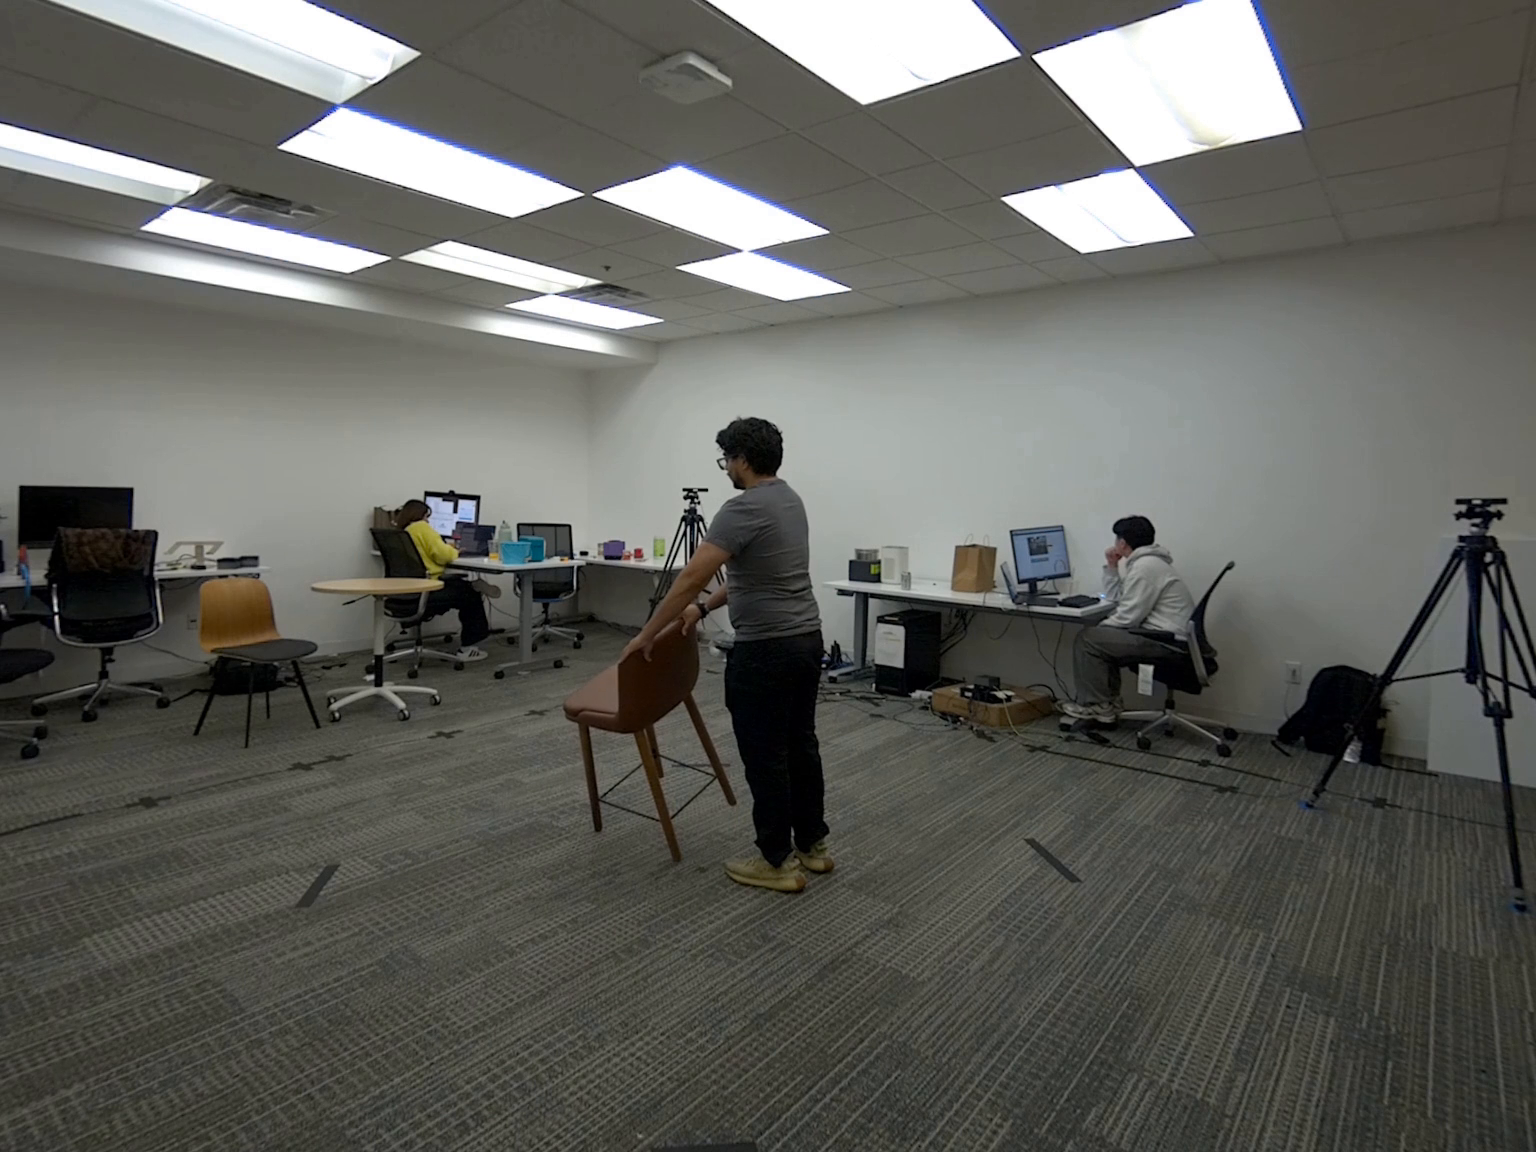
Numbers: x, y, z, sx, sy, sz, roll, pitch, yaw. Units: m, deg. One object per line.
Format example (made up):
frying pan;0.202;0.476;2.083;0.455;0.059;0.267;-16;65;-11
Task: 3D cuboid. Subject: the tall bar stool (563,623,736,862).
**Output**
tall bar stool;-0.495;0.576;3.304;0.484;0.871;0.450;8;26;38
